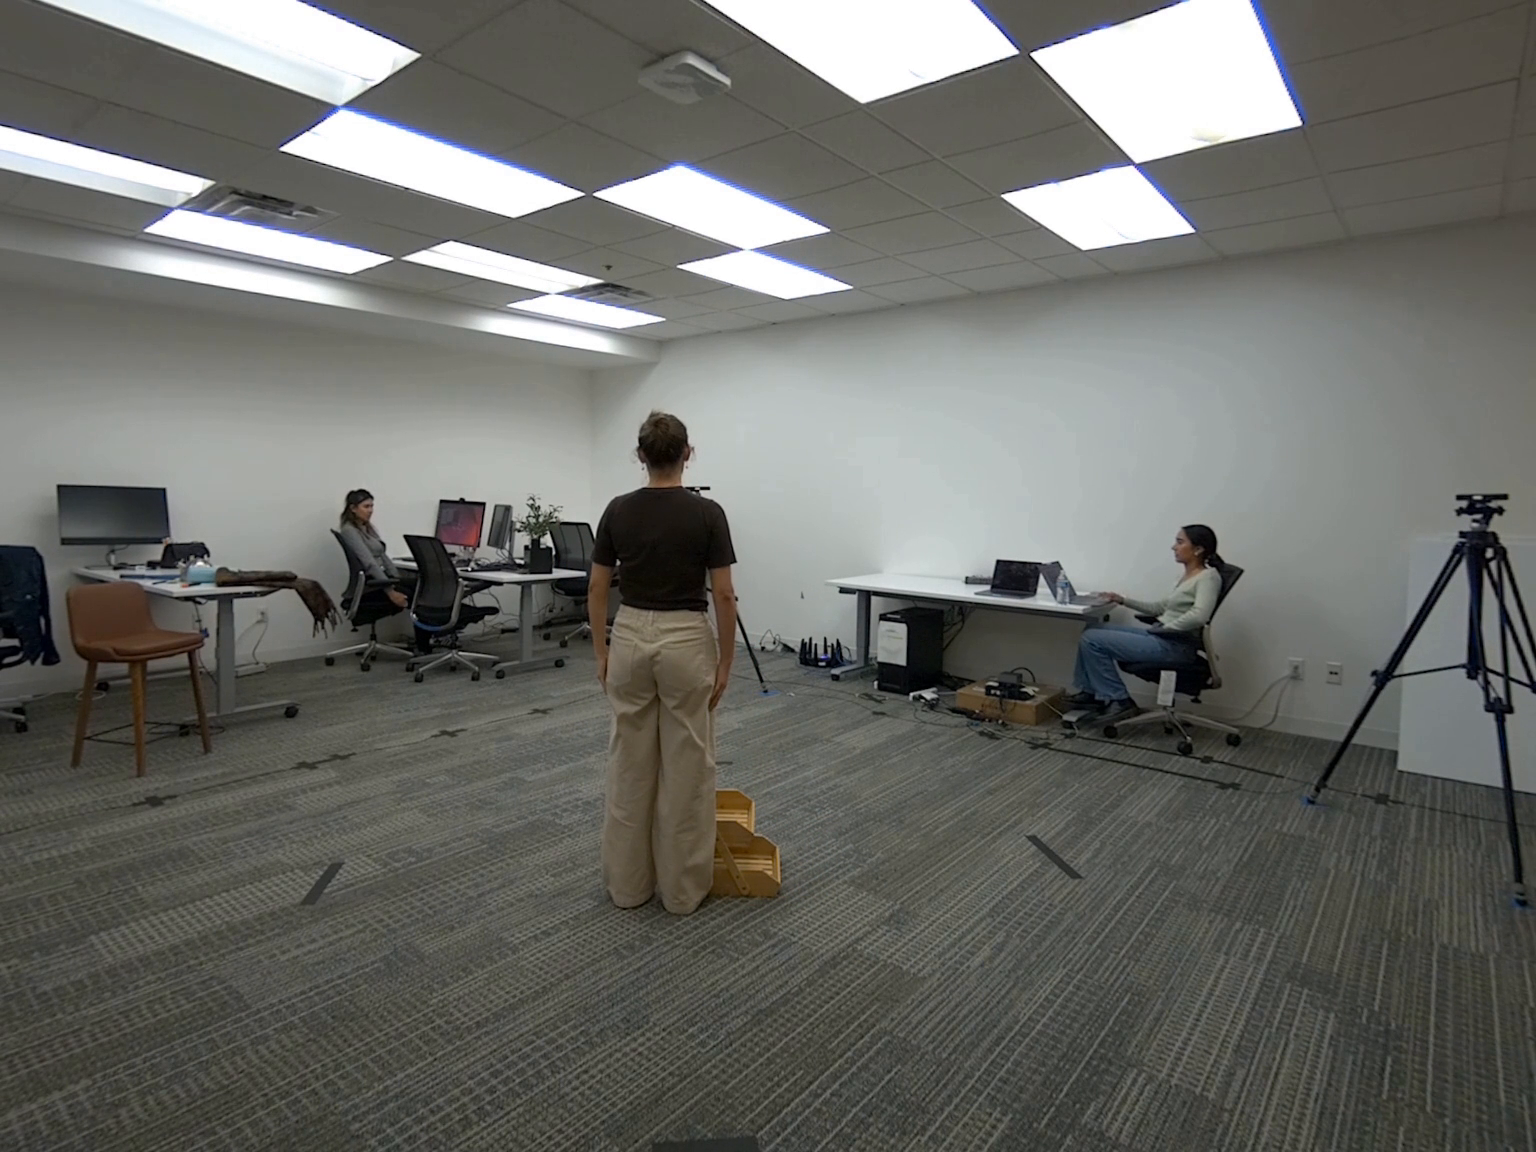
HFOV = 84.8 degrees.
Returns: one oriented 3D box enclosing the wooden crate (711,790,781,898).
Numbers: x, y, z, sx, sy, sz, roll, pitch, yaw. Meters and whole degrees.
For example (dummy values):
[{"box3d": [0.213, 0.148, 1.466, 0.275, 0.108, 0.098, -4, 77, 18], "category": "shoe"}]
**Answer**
[{"box3d": [-0.110, 0.939, 3.044, 0.303, 0.272, 0.325, 0, 5, 1], "category": "wooden crate"}]
